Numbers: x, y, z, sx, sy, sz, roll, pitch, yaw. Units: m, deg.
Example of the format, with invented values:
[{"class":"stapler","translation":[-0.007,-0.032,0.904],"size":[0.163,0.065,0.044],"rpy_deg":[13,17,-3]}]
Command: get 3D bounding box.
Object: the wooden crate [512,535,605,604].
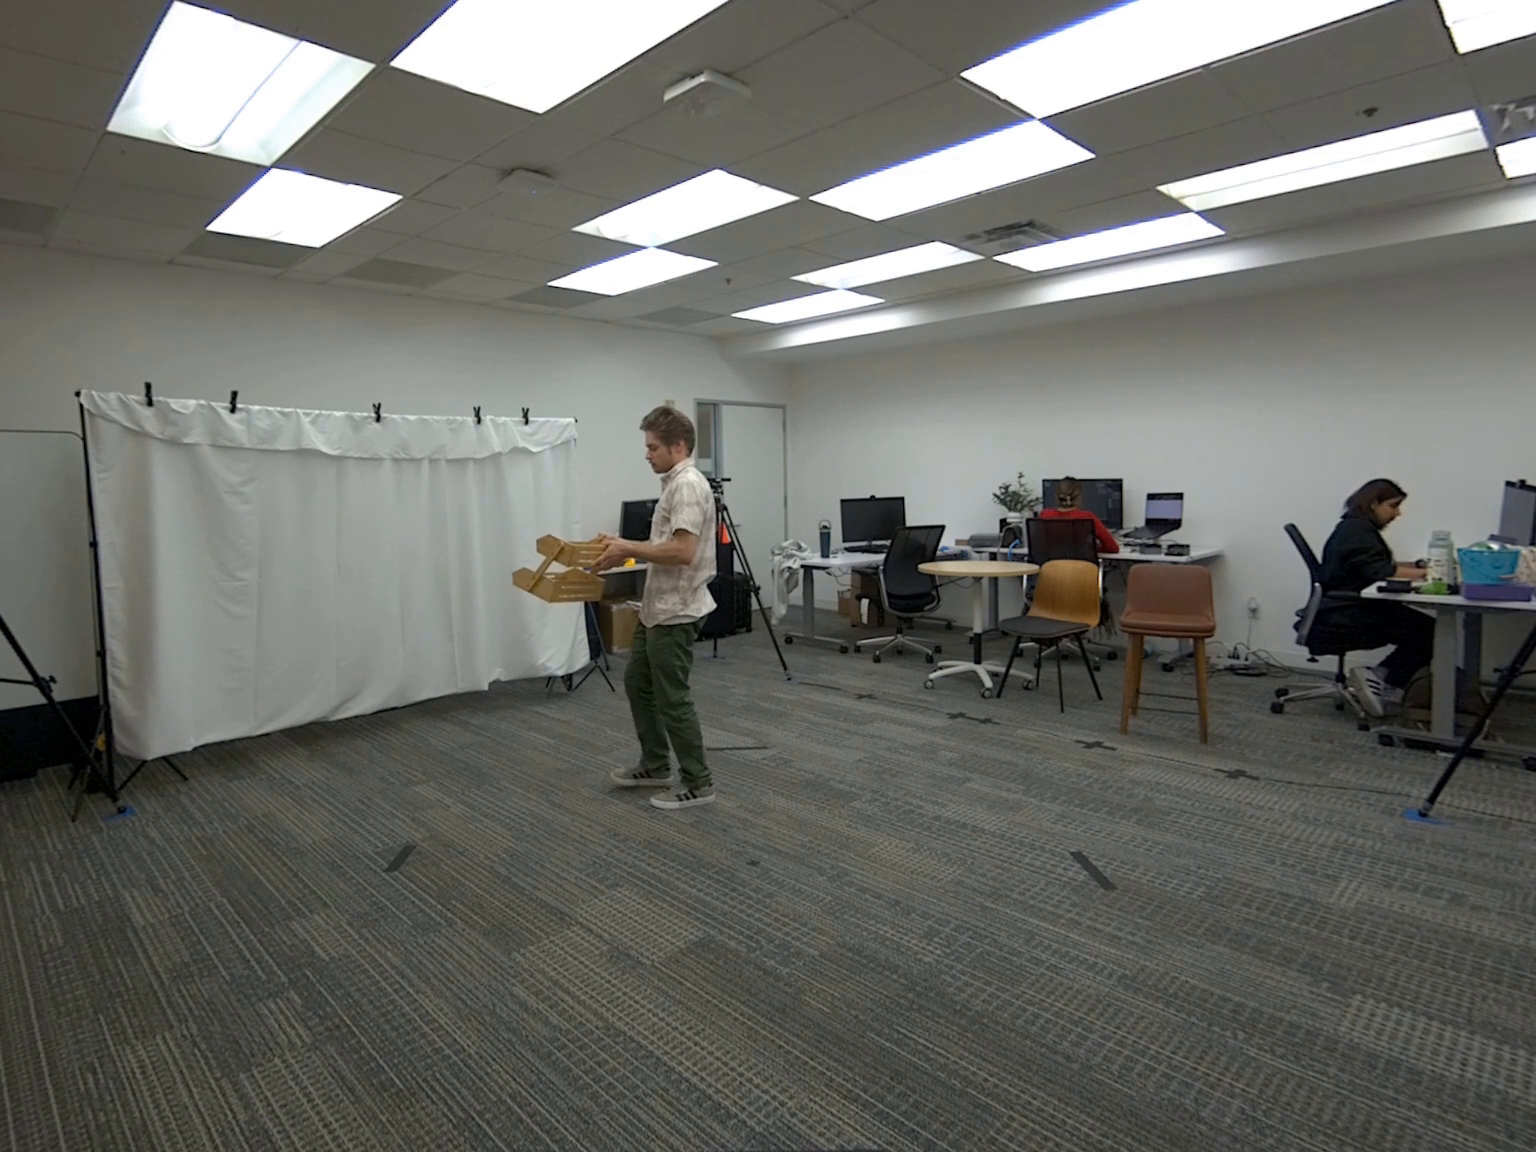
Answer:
[{"class":"wooden crate","translation":[-0.842,-0.050,3.584],"size":[0.312,0.272,0.315],"rpy_deg":[21,11,32]}]
